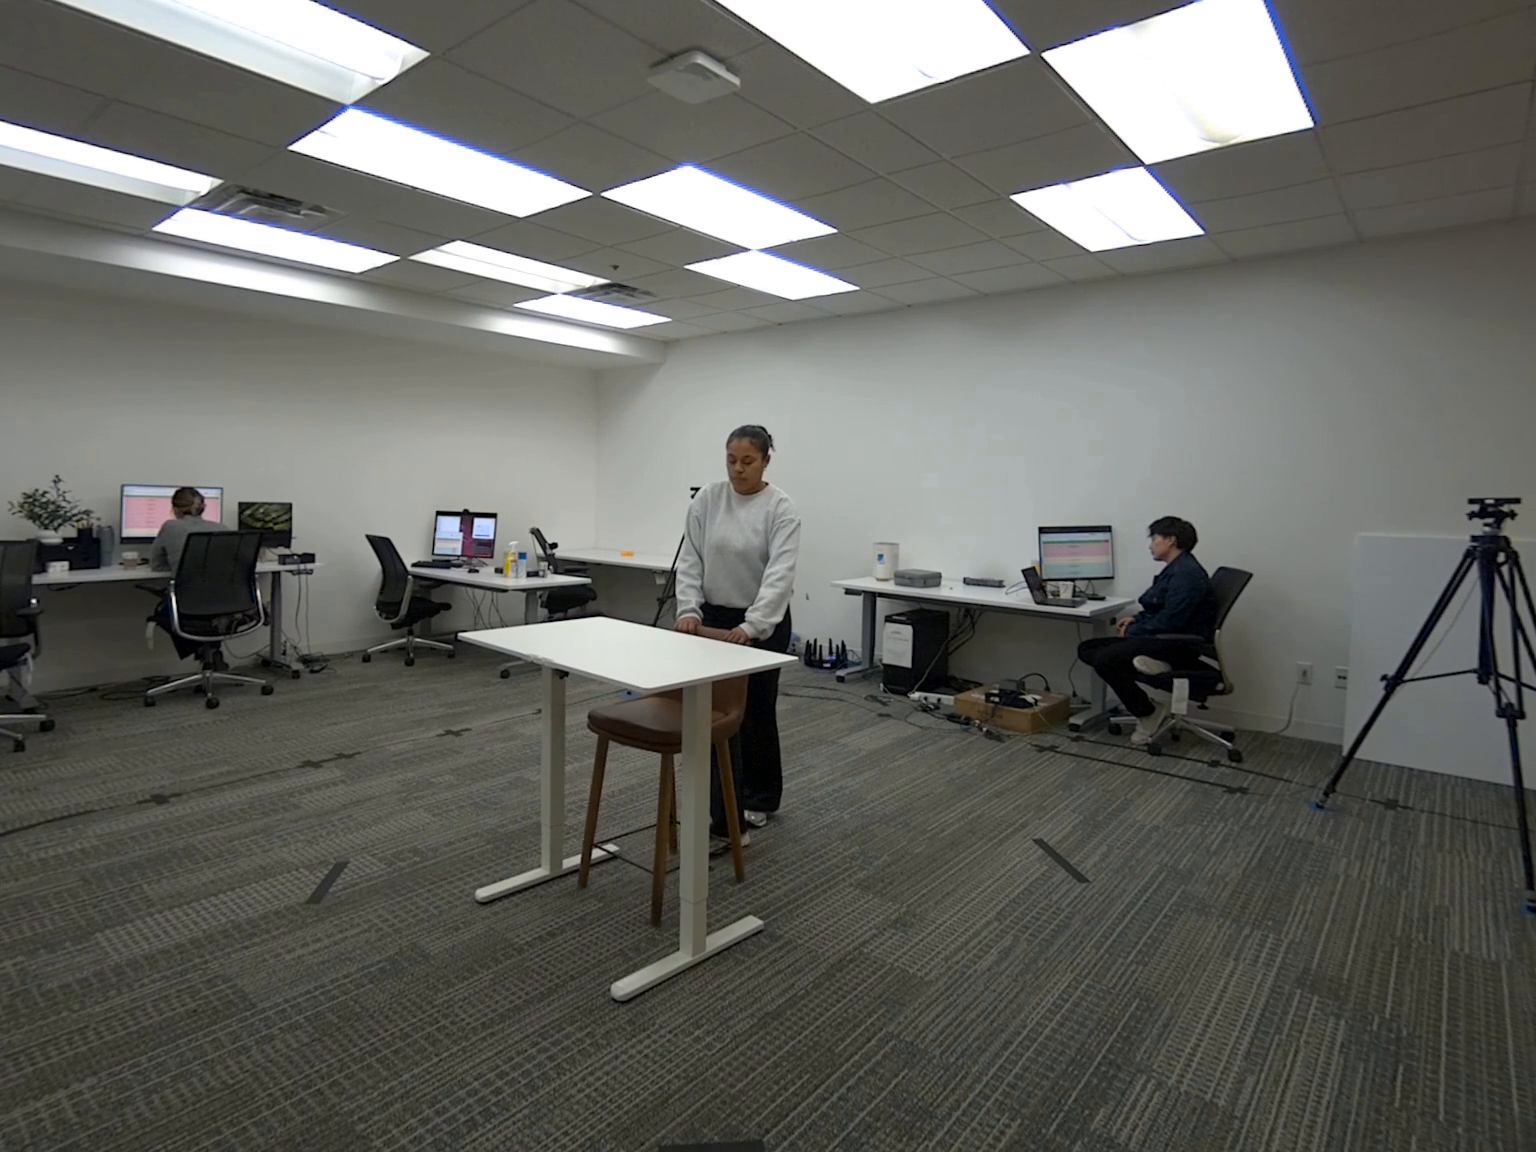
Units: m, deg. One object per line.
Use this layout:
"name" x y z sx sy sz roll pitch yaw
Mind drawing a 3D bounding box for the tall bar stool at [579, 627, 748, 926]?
"tall bar stool" -0.355 0.639 2.971 0.472 0.890 0.452 3 0 42
